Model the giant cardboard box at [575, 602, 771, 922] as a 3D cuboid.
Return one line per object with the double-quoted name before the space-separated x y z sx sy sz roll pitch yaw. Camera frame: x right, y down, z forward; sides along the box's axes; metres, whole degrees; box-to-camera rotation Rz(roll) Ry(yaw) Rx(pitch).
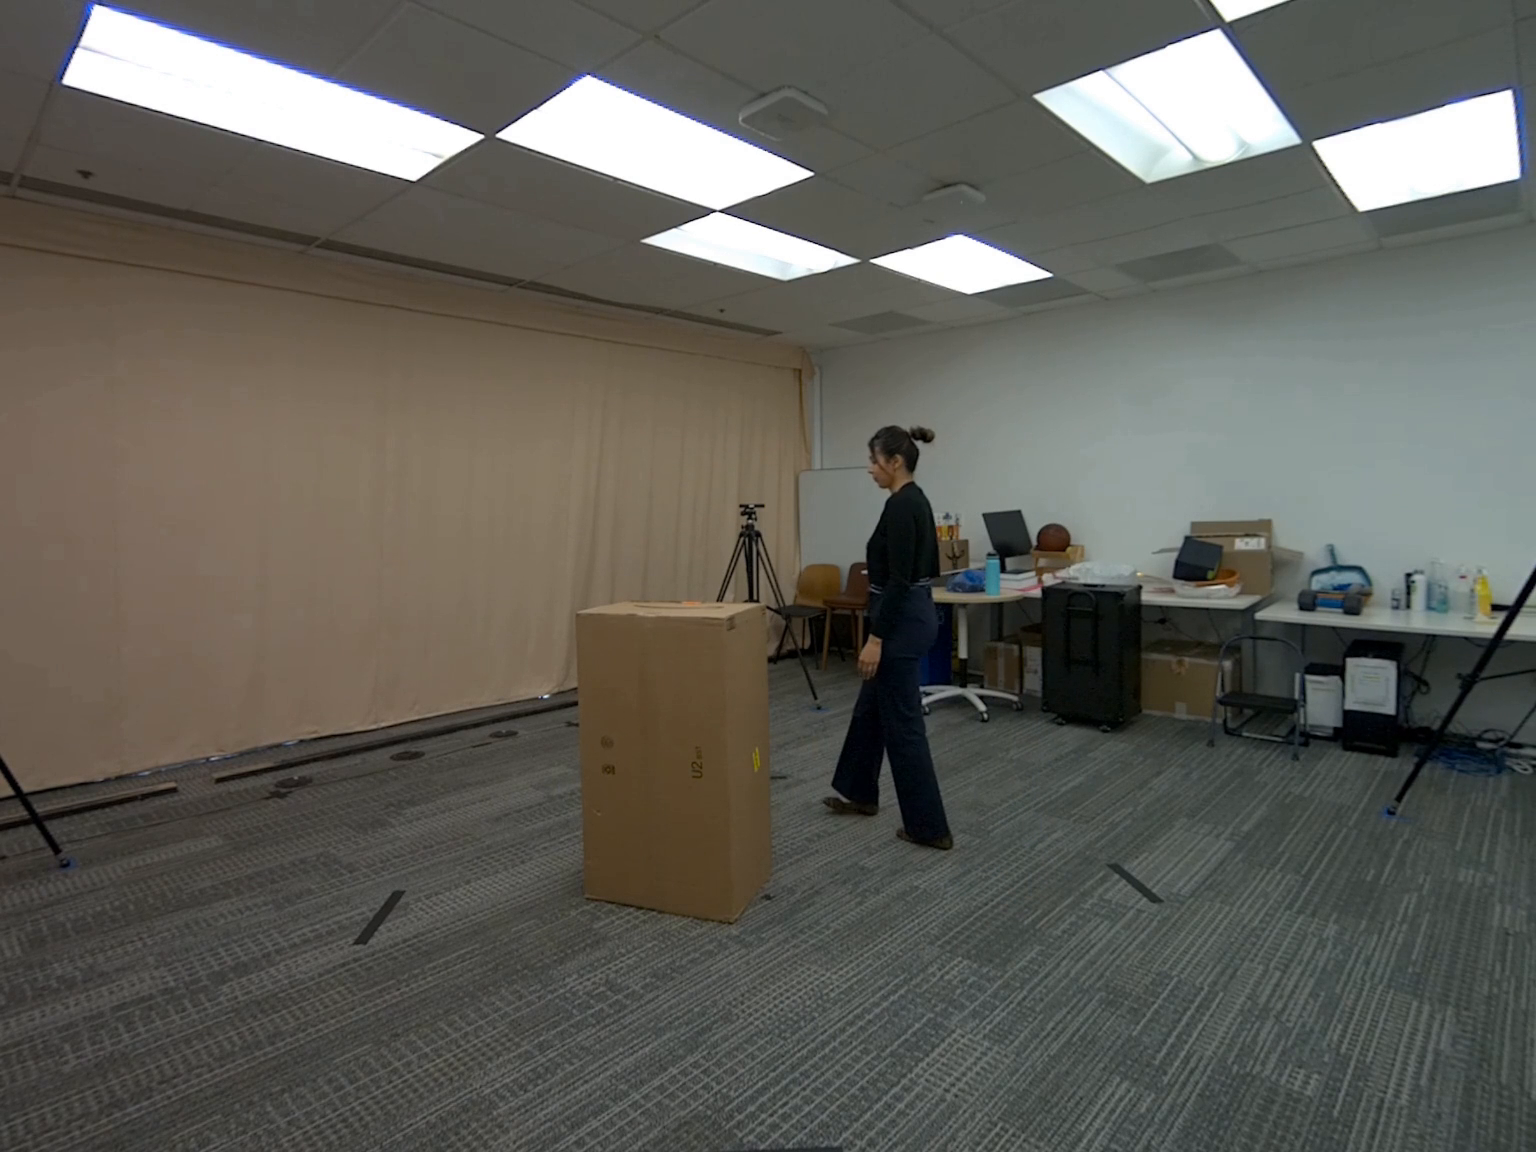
"giant cardboard box" -0.328 0.629 3.074 0.591 1.024 0.417 0 2 22
